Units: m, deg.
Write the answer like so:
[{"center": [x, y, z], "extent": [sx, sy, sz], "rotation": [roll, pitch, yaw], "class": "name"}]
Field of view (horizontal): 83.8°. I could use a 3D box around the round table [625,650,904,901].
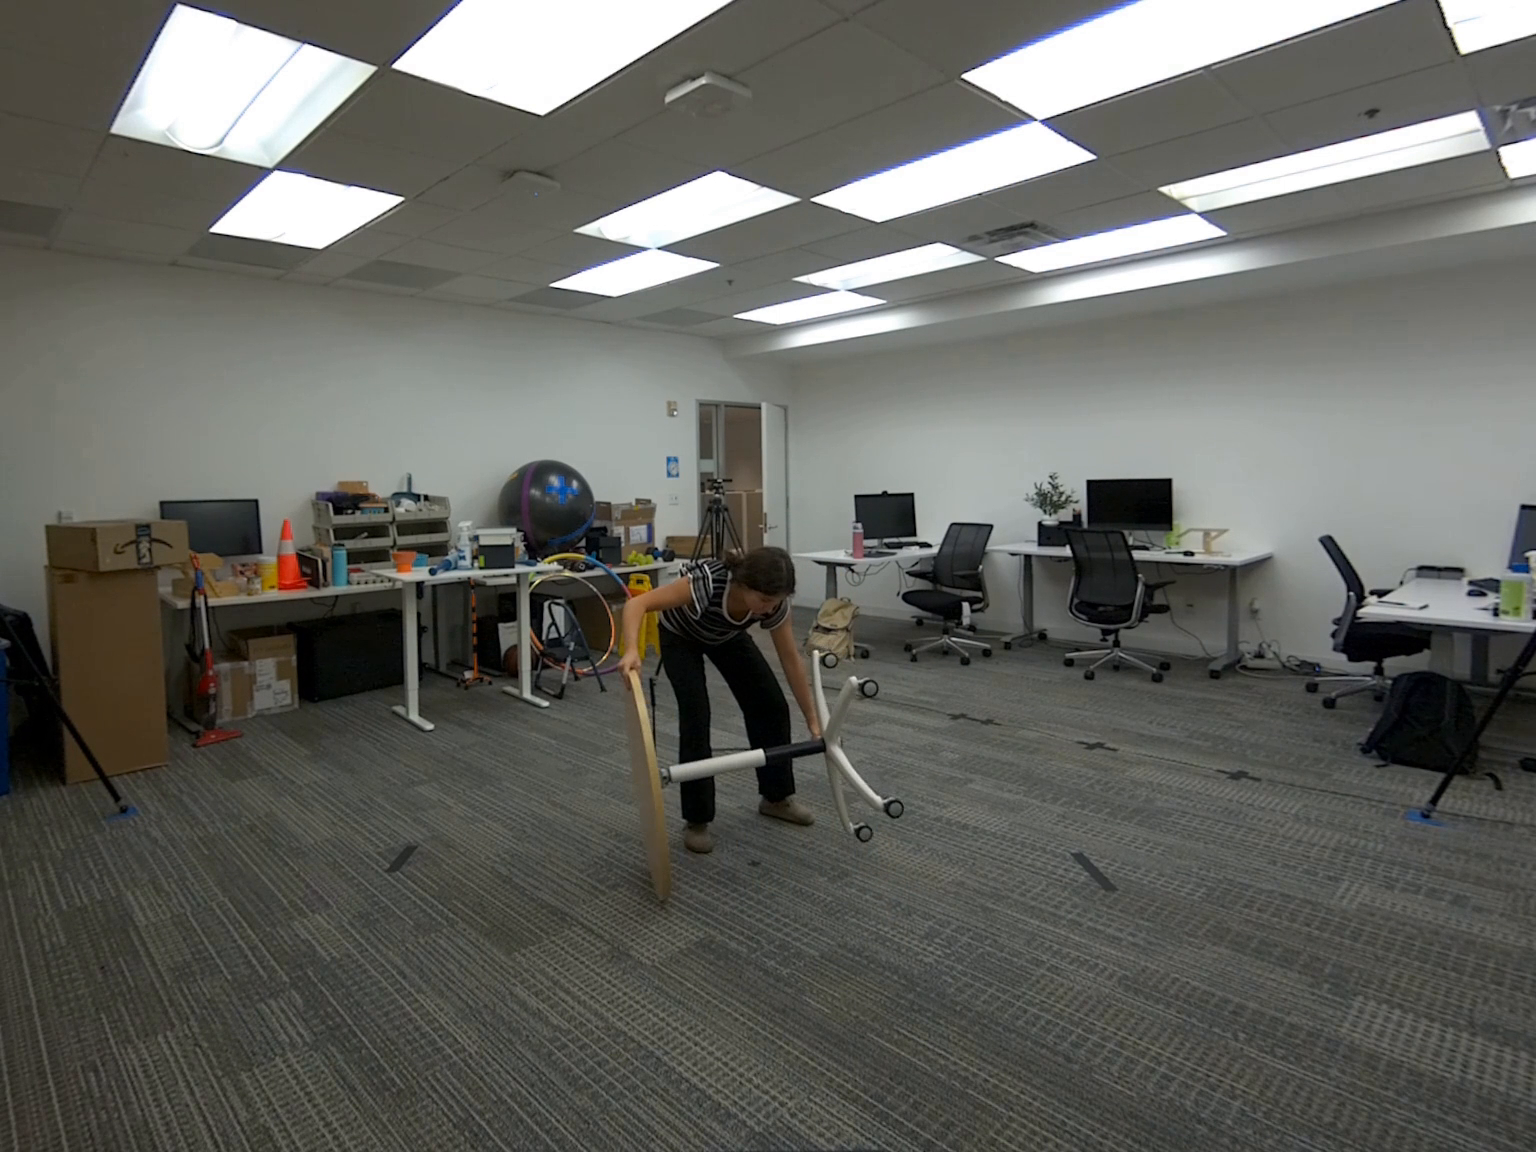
[{"center": [-0.035, 0.652, 2.976], "extent": [0.786, 0.760, 0.776], "rotation": [-7, 6, -13], "class": "round table"}]
